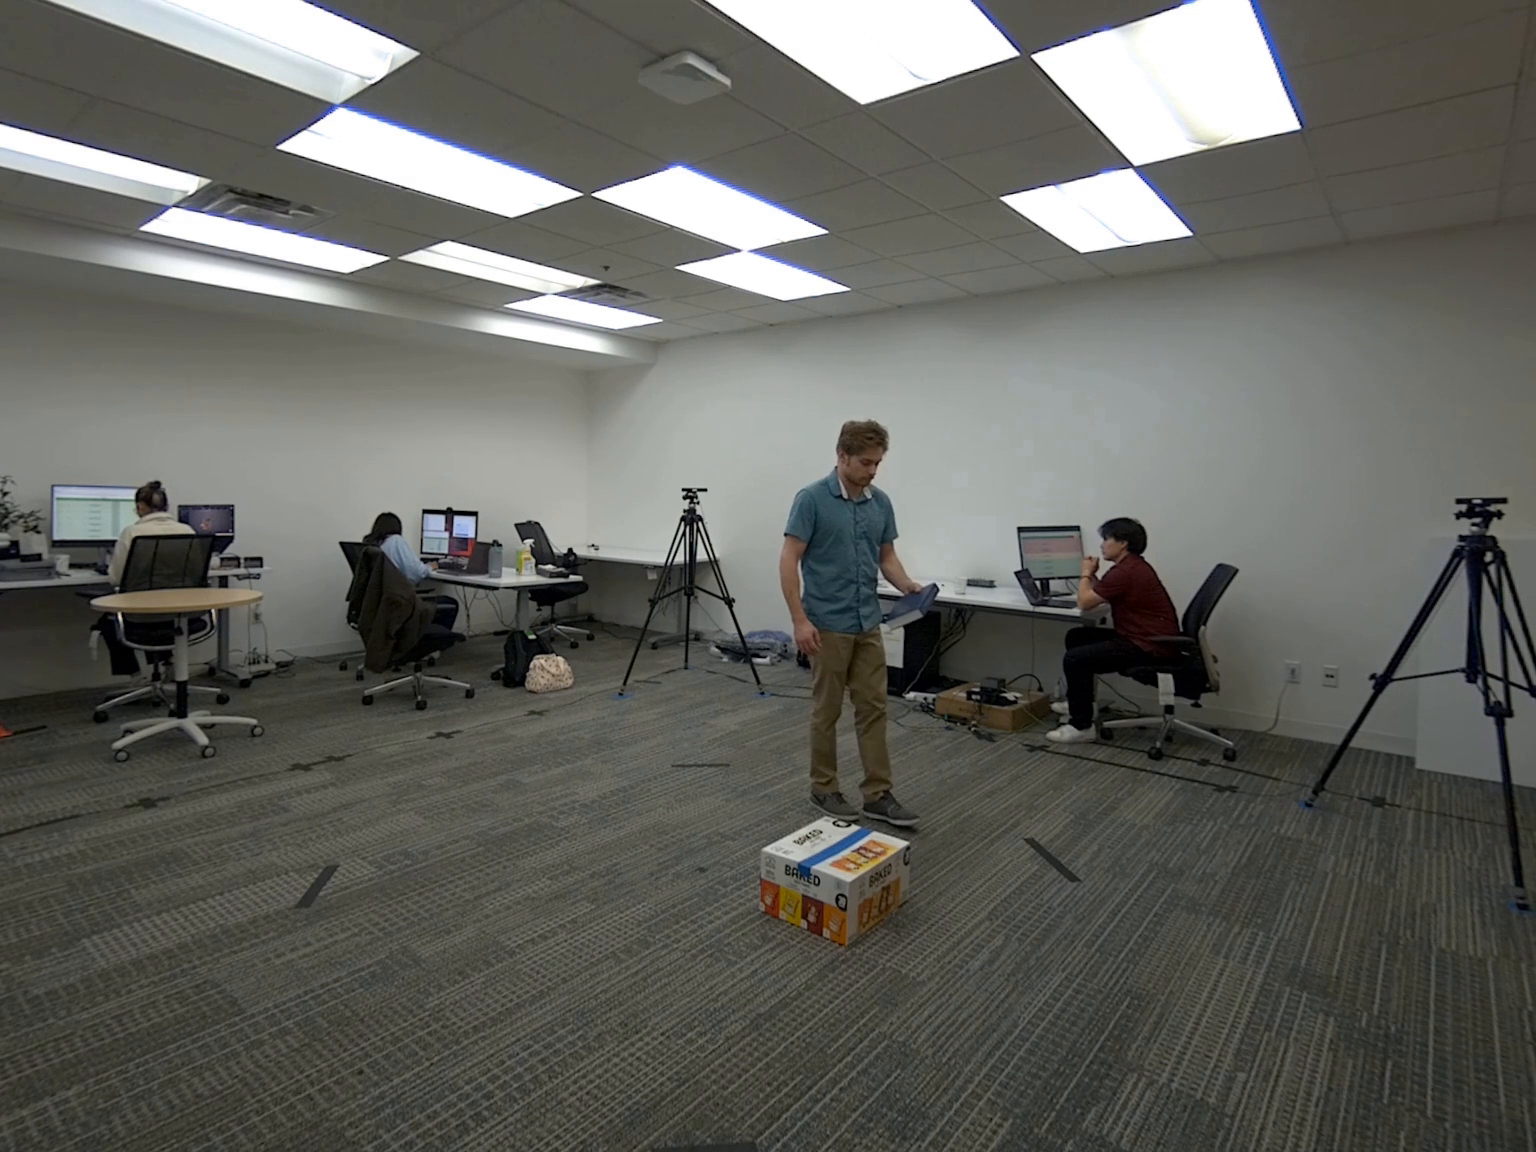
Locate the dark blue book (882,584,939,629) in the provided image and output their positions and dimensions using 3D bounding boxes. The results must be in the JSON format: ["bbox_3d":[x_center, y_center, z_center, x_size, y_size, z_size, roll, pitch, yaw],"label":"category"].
[{"bbox_3d":[0.582,0.118,3.401,0.165,0.045,0.244,-28,10,34],"label":"dark blue book"}]
